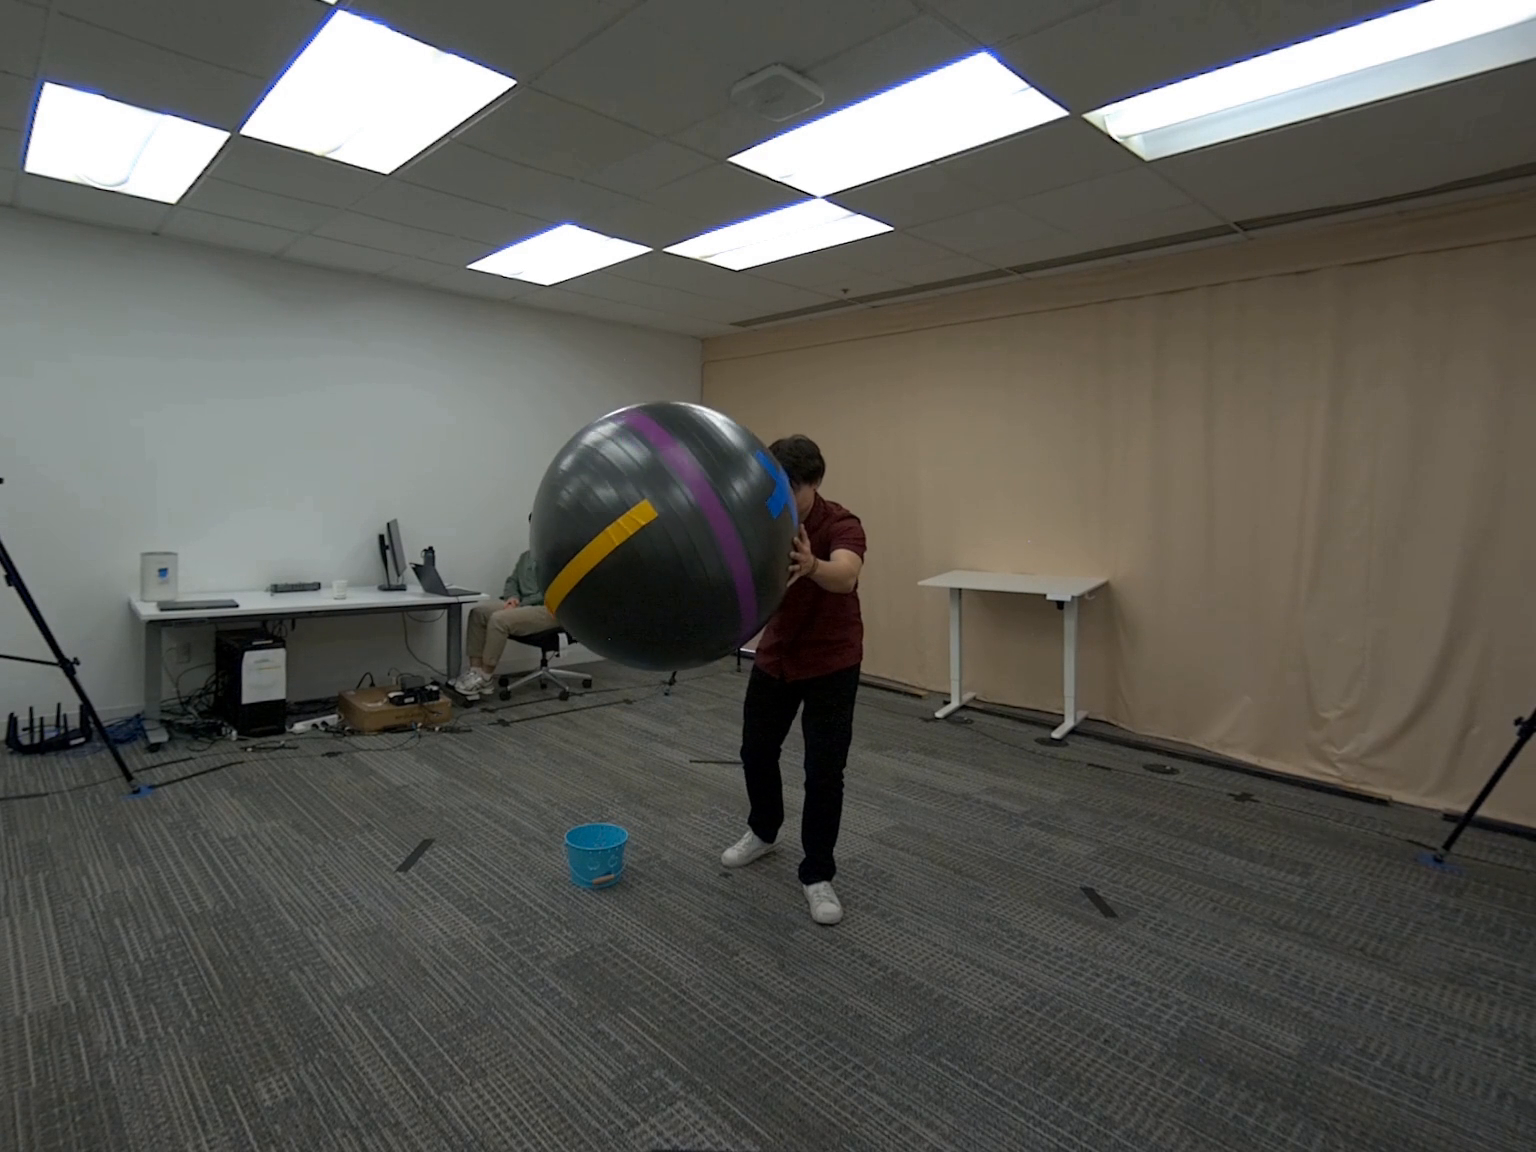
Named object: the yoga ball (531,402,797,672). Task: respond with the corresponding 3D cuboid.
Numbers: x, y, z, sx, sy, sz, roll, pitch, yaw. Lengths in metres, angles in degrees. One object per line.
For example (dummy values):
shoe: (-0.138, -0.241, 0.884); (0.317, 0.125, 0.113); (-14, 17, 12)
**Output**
yoga ball: (-0.296, -0.093, 2.383); (0.757, 0.756, 0.761); (1, 4, -1)
